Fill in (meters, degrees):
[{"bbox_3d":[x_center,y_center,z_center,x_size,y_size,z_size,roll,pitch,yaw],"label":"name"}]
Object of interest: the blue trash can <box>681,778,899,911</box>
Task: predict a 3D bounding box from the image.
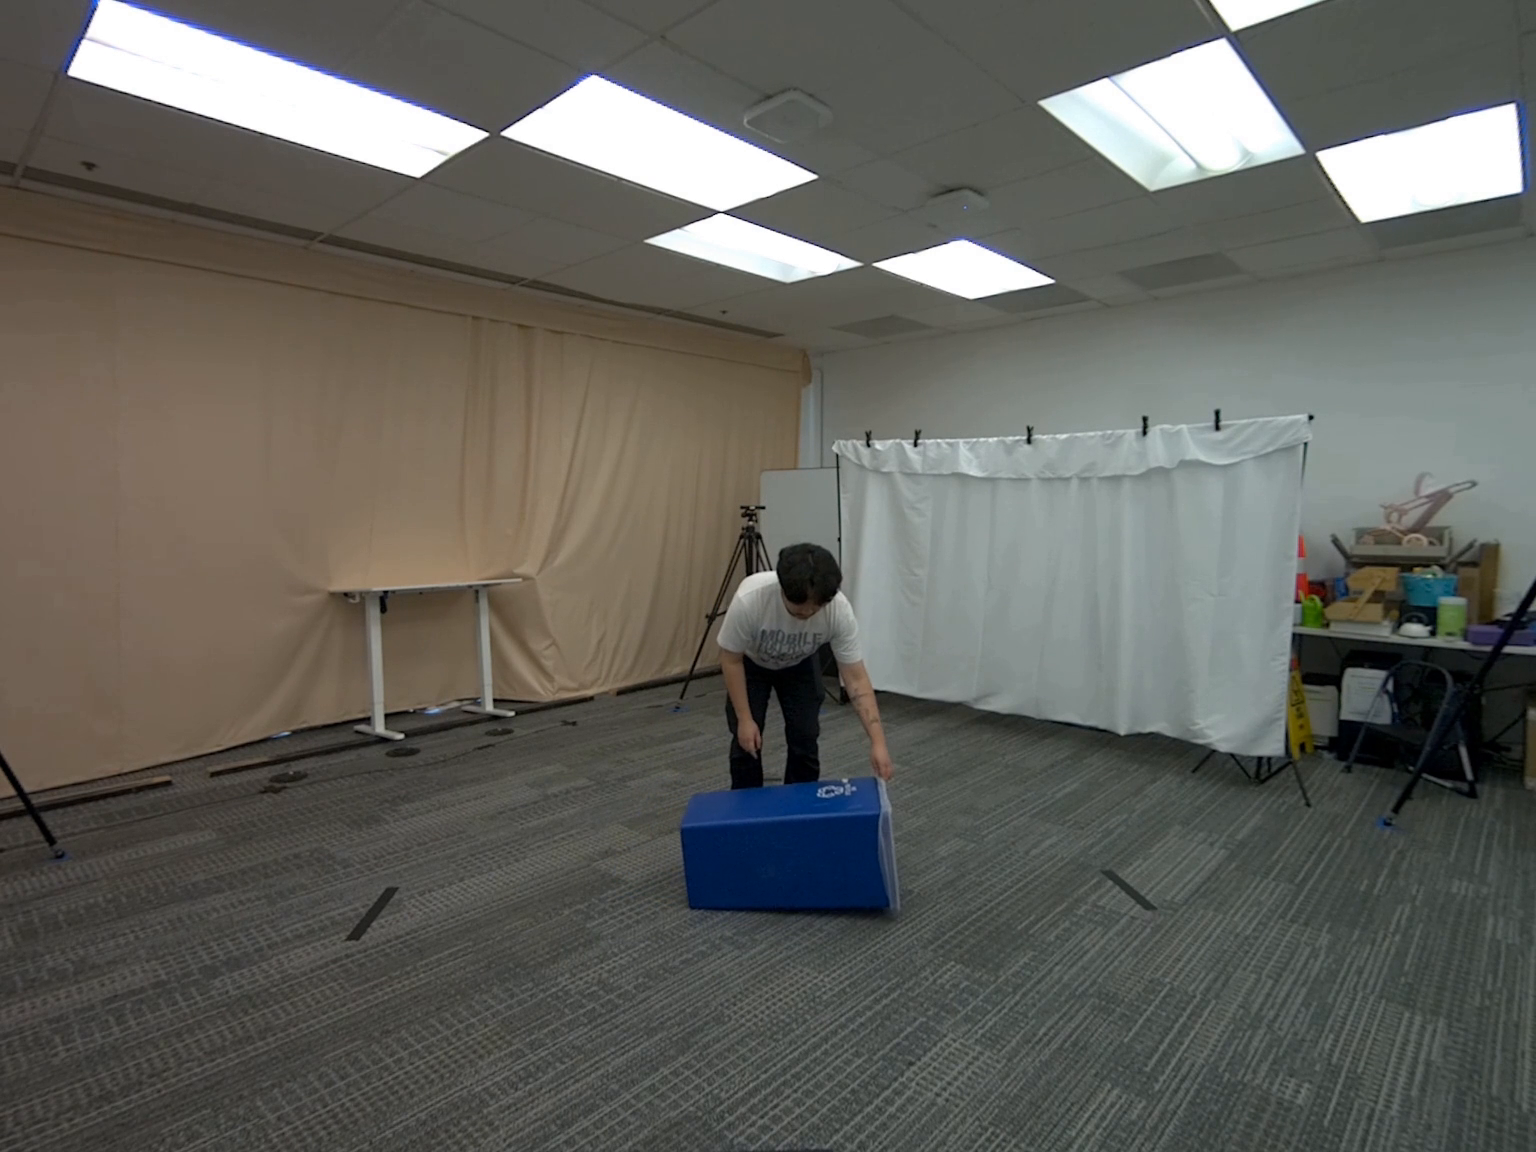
[{"bbox_3d":[0.080,0.952,2.990,0.719,0.377,0.373,-6,5,6],"label":"blue trash can"}]
